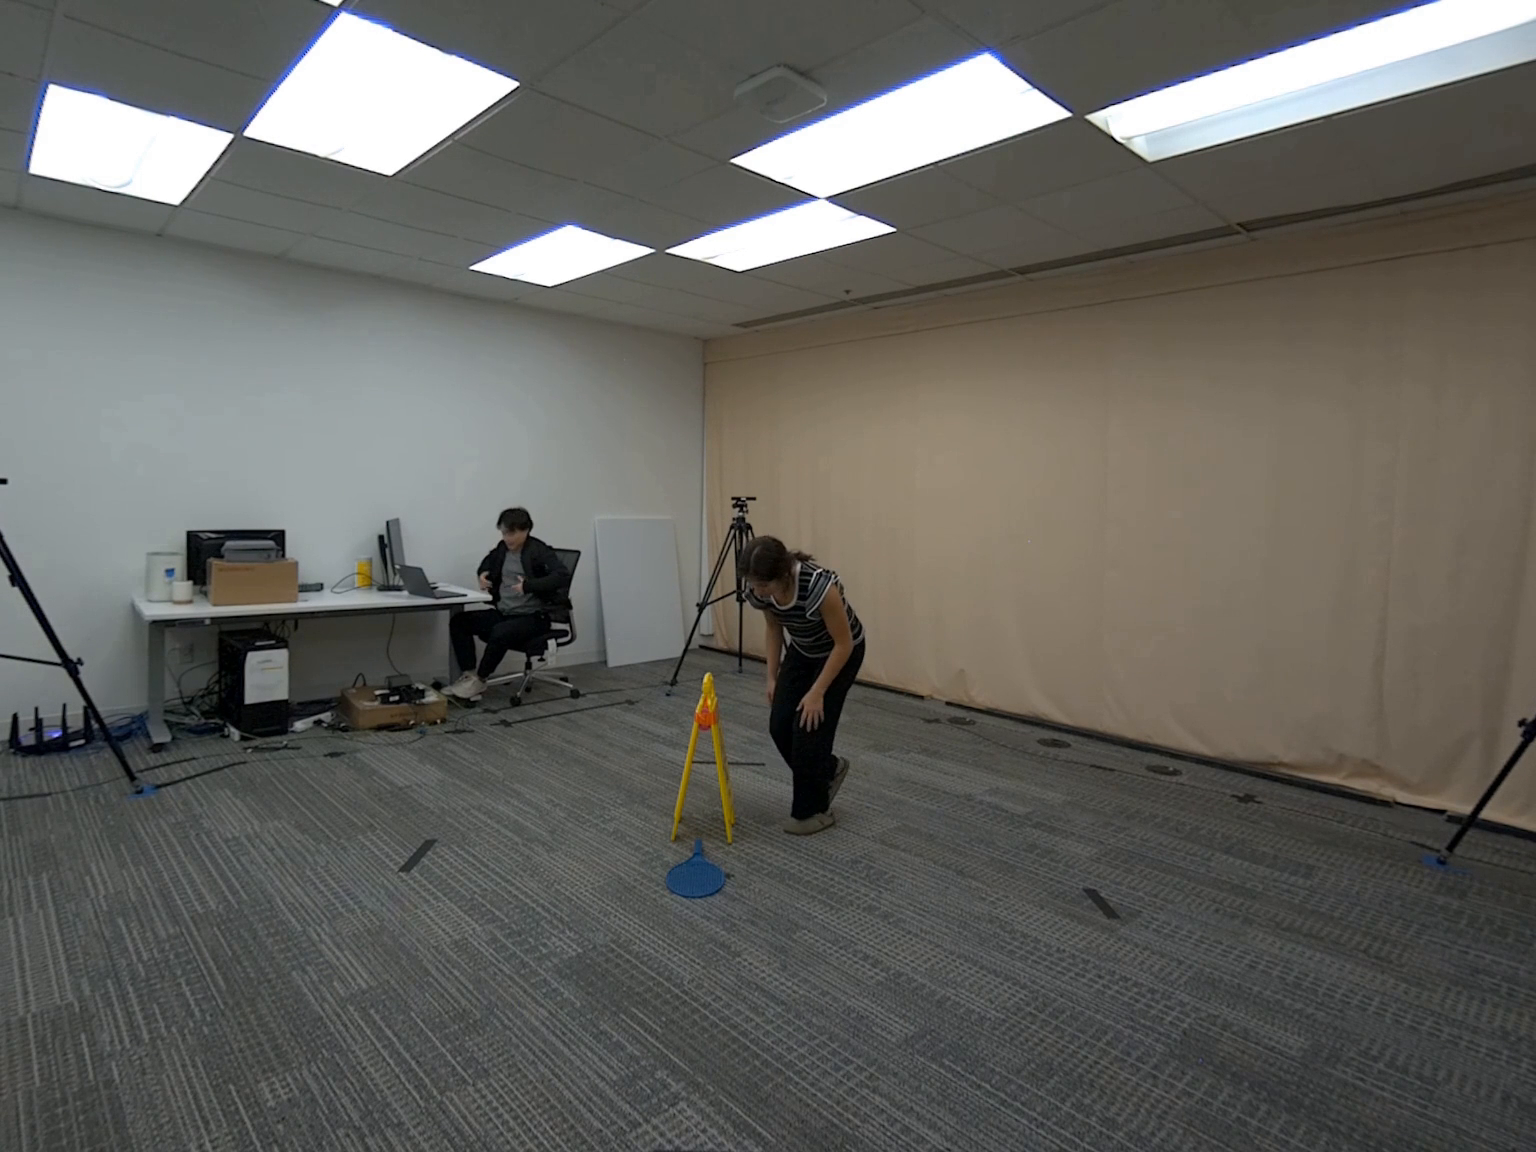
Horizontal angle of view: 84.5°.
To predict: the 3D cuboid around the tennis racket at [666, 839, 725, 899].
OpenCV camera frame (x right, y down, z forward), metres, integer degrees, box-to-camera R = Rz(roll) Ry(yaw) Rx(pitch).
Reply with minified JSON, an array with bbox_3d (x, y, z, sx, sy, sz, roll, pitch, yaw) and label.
[{"bbox_3d":[-0.272,1.086,3.137,0.214,0.031,0.434,1,7,1],"label":"tennis racket"}]
